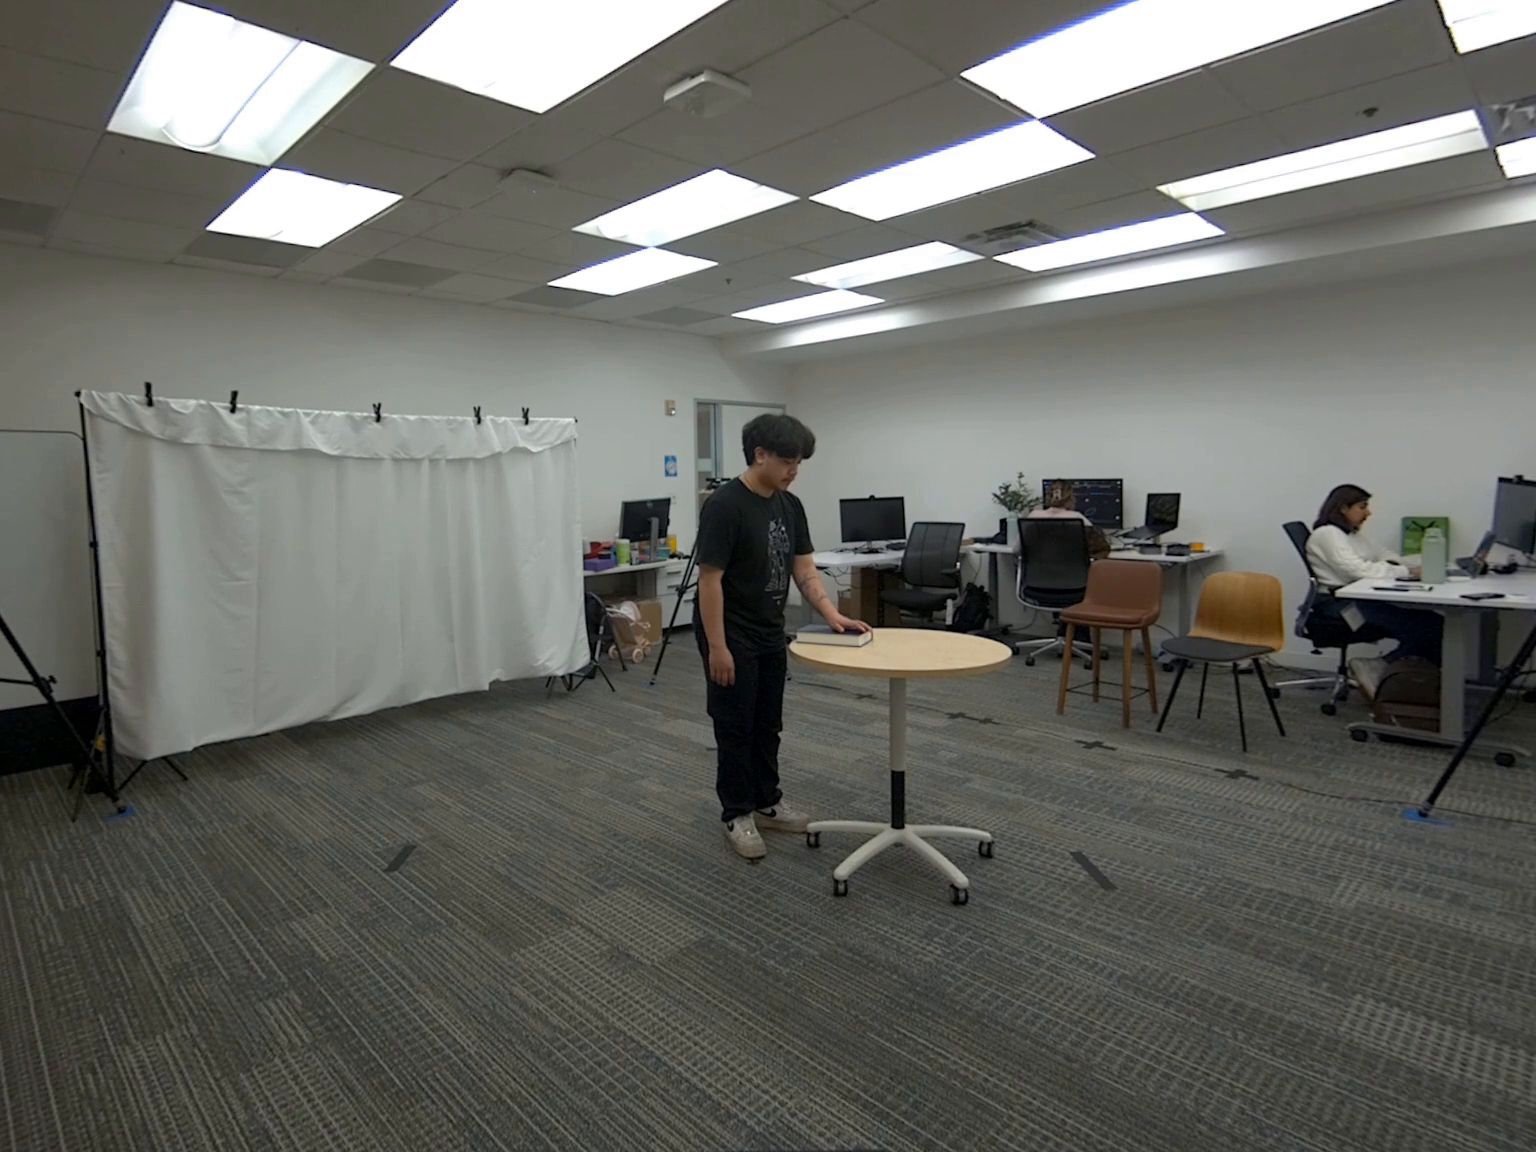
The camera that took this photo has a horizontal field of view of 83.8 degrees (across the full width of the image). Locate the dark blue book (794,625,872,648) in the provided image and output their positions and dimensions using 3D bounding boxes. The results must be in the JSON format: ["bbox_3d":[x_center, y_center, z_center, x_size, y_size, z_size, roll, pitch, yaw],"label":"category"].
[{"bbox_3d":[0.246,0.218,3.129,0.251,0.045,0.160,3,7,24],"label":"dark blue book"}]
